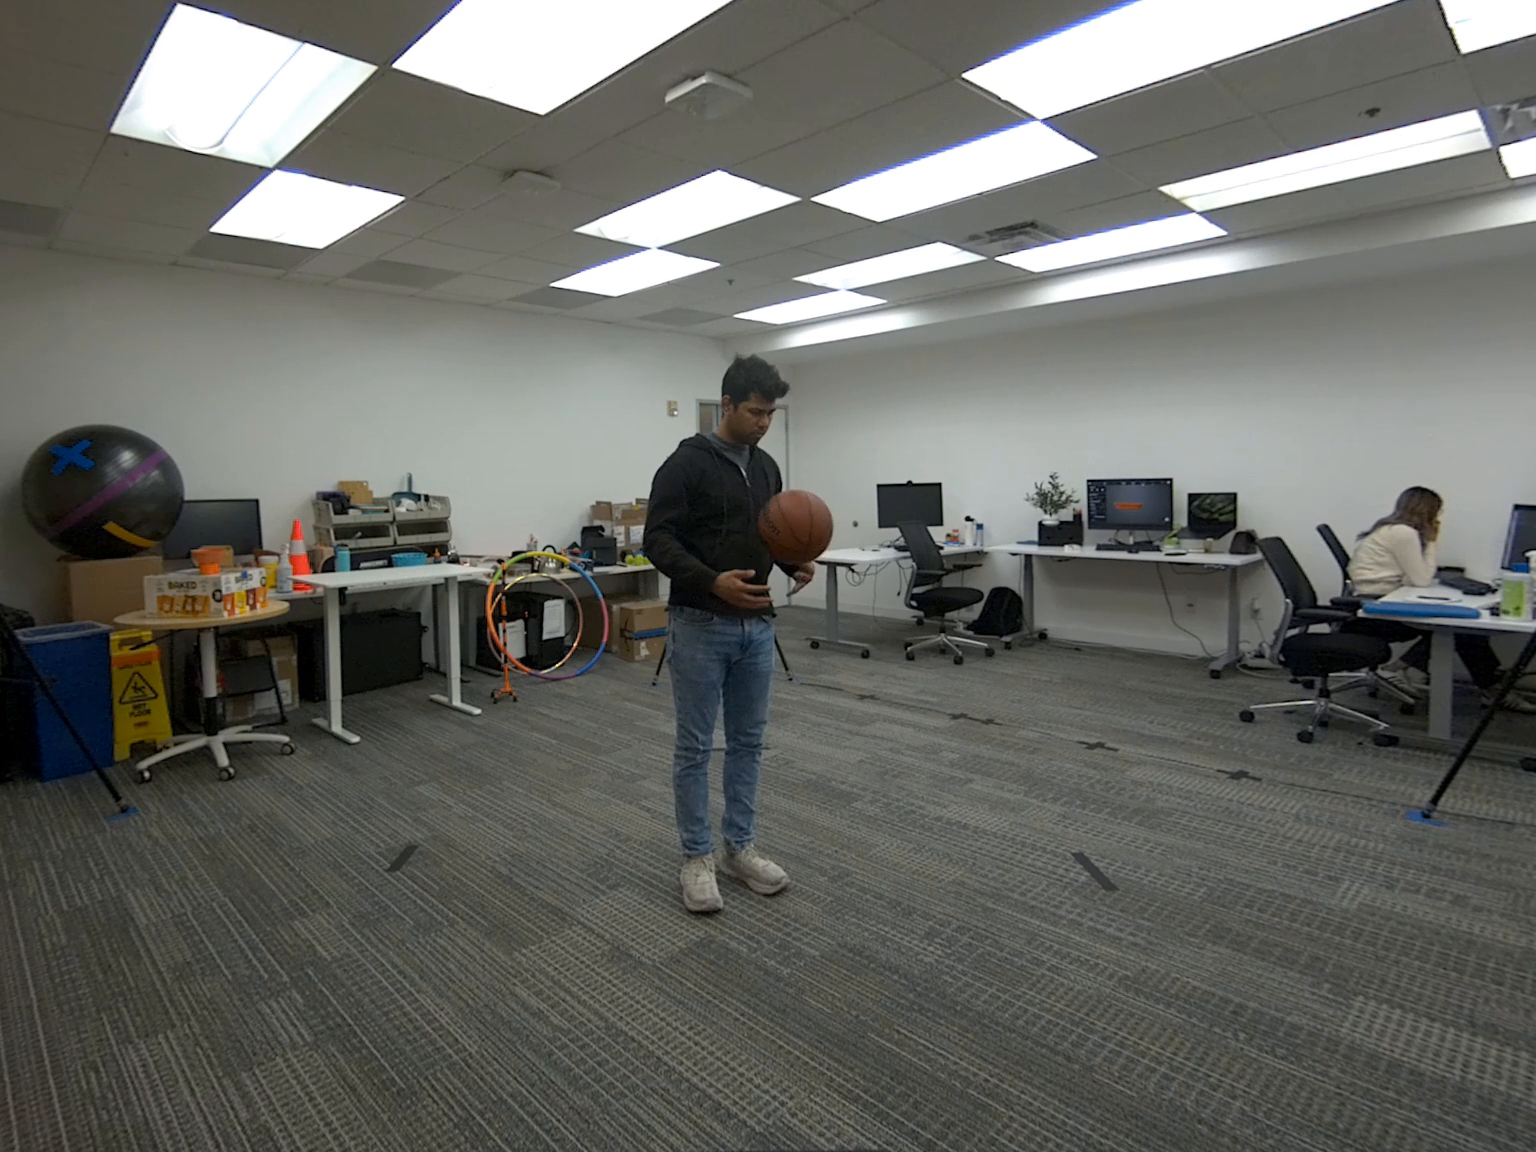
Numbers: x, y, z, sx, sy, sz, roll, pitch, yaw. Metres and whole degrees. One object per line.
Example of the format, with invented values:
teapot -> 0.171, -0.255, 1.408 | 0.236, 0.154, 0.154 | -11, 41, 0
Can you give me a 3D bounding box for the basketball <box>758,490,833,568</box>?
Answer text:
basketball -> 0.076, -0.131, 2.712 | 0.236, 0.235, 0.237 | -1, 5, -2
